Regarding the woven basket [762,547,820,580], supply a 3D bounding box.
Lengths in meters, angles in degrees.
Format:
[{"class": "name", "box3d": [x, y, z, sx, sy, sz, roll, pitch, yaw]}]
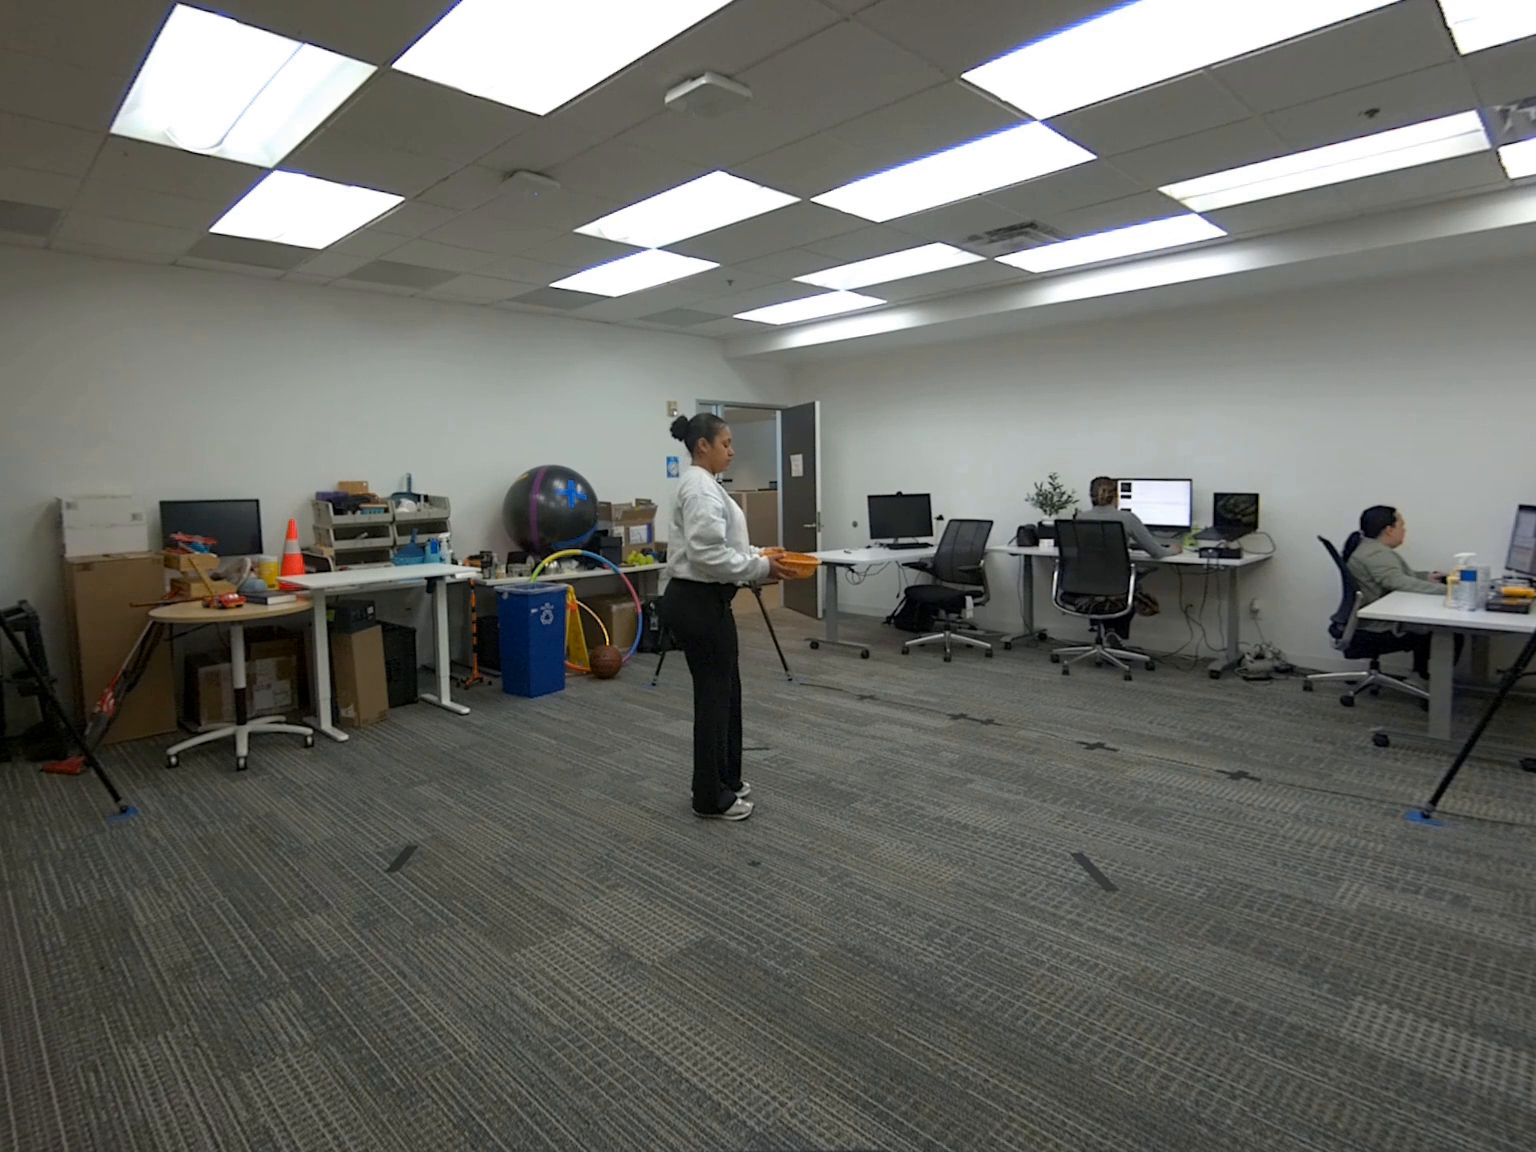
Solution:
[{"class": "woven basket", "box3d": [0.061, -0.038, 3.556, 0.248, 0.073, 0.359, 1, 7, -20]}]
